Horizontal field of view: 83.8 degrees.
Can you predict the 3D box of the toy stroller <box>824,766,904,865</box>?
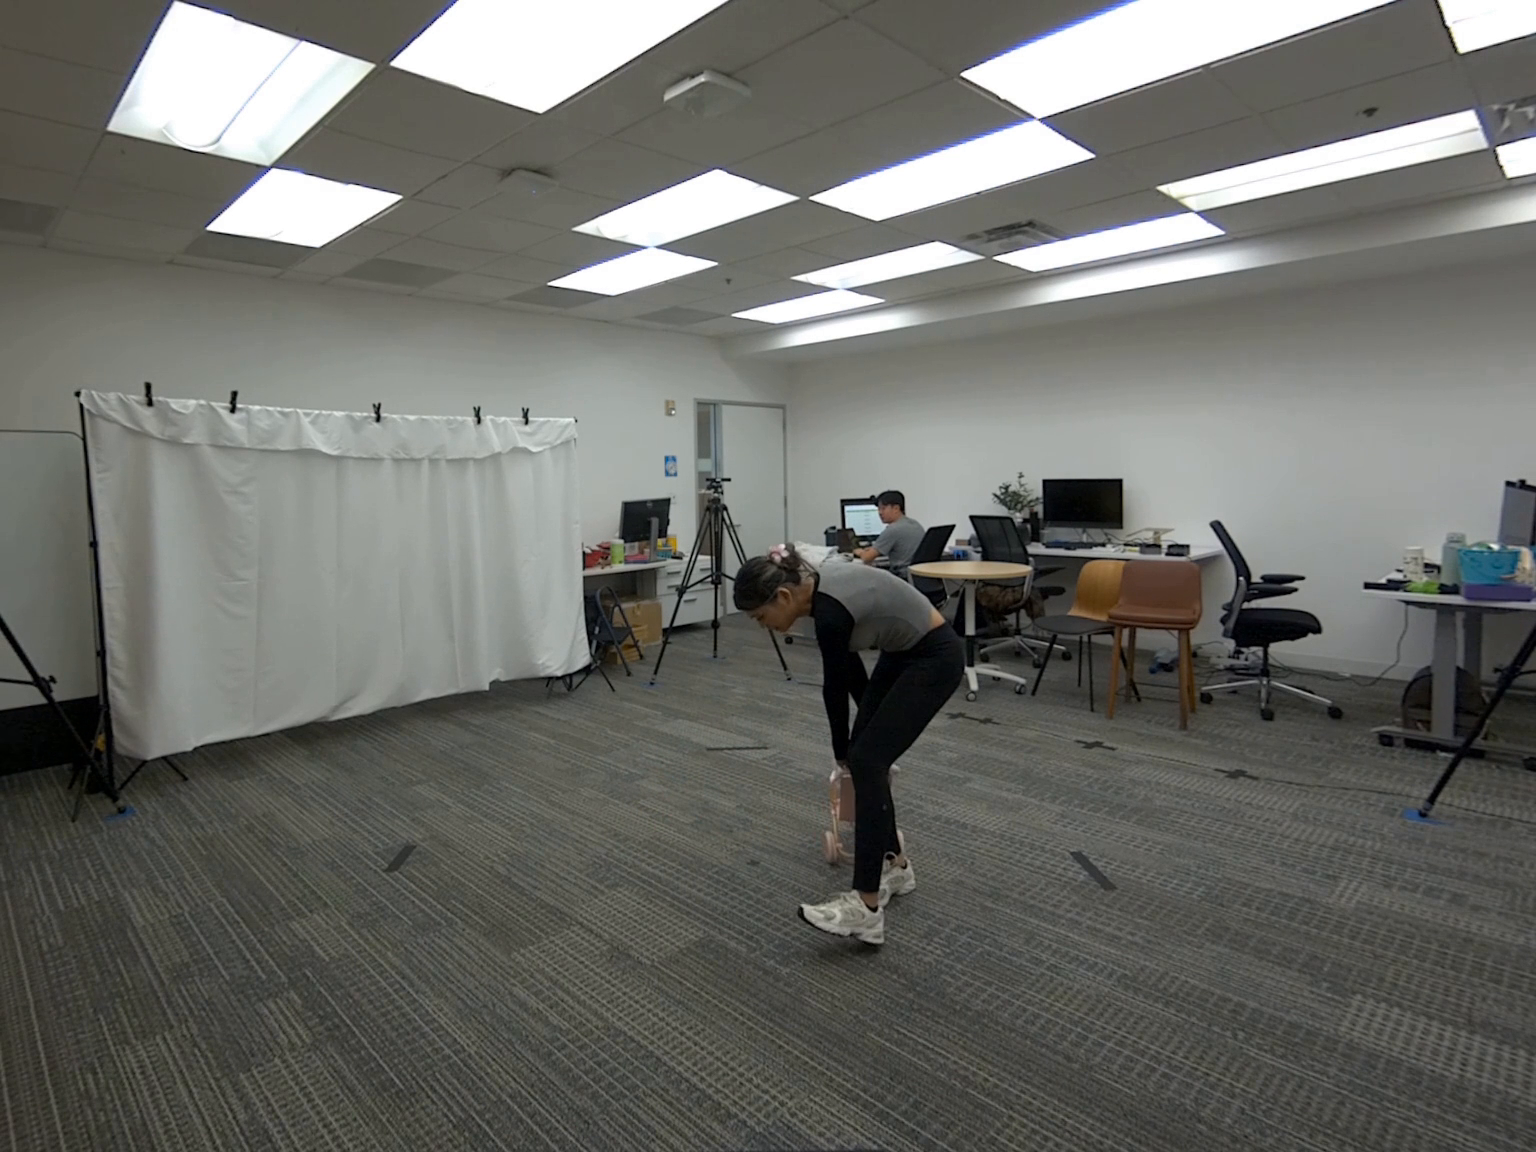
[{"bbox_3d":[0.354,0.808,3.145,0.282,0.525,0.347,0,23,2],"label":"toy stroller"}]
